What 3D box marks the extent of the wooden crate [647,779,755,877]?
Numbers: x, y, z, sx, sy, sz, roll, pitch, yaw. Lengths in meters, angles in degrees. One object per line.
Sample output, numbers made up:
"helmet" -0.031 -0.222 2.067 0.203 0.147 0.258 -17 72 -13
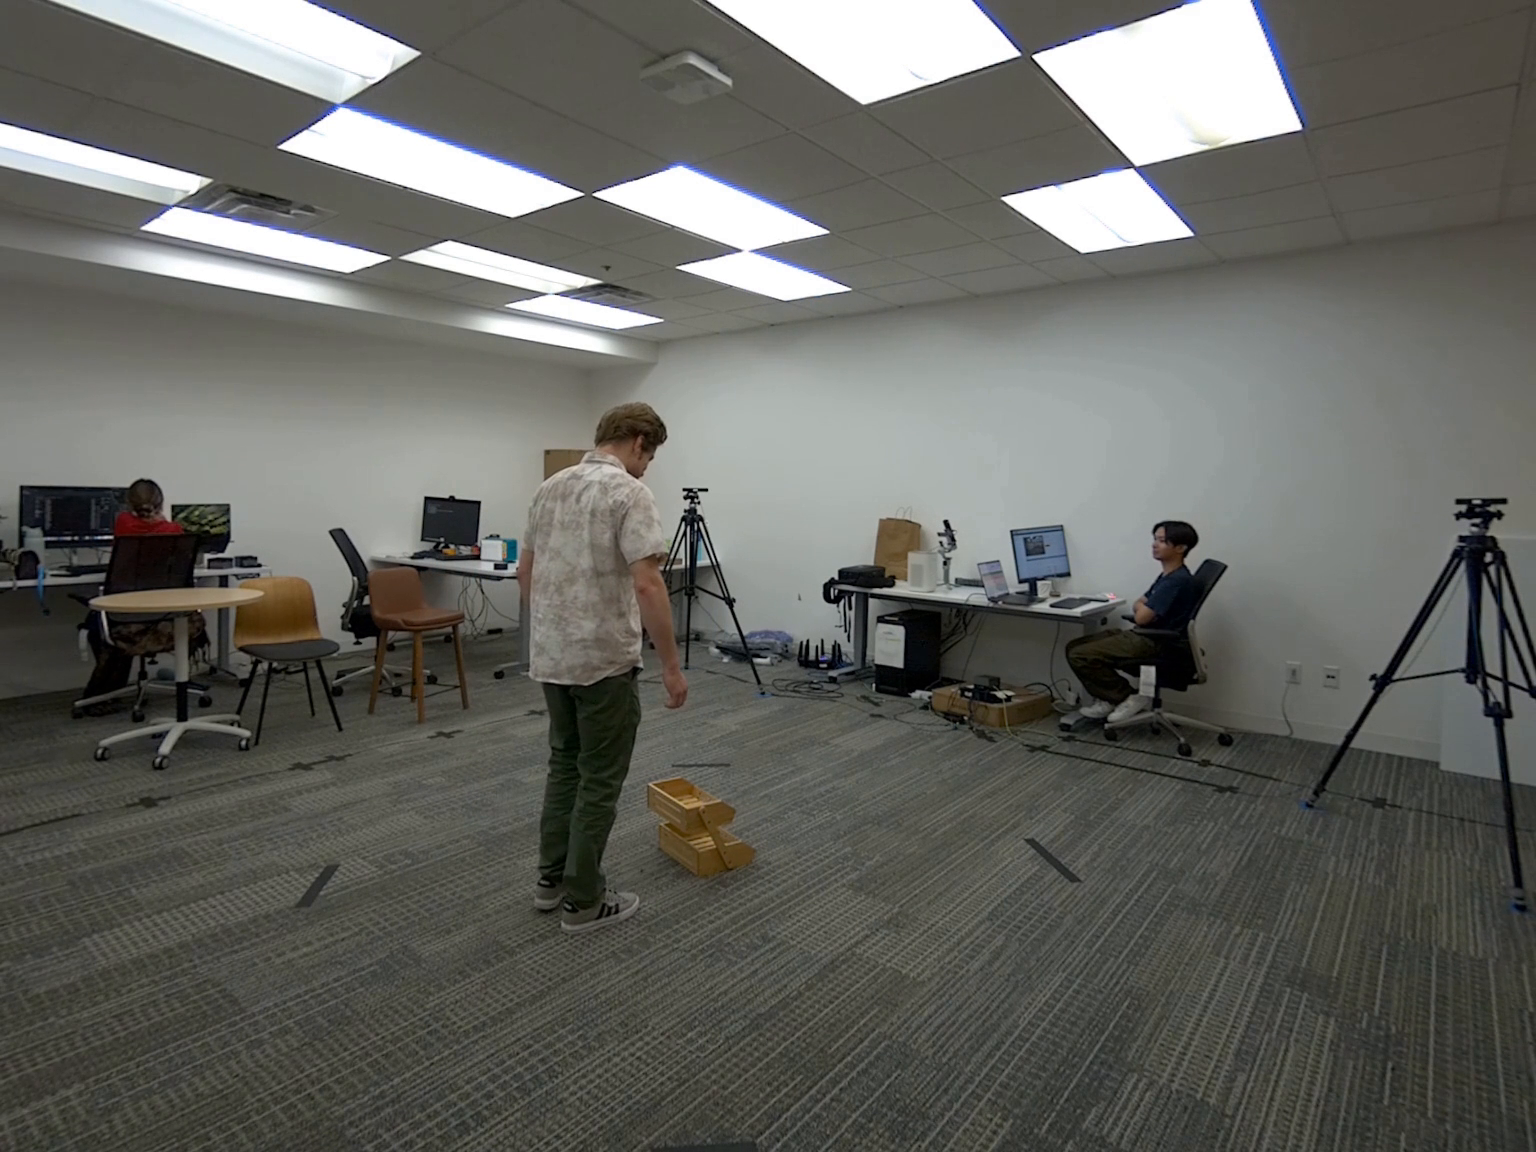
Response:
"wooden crate" -0.261 0.924 3.216 0.293 0.272 0.335 -3 6 -35
